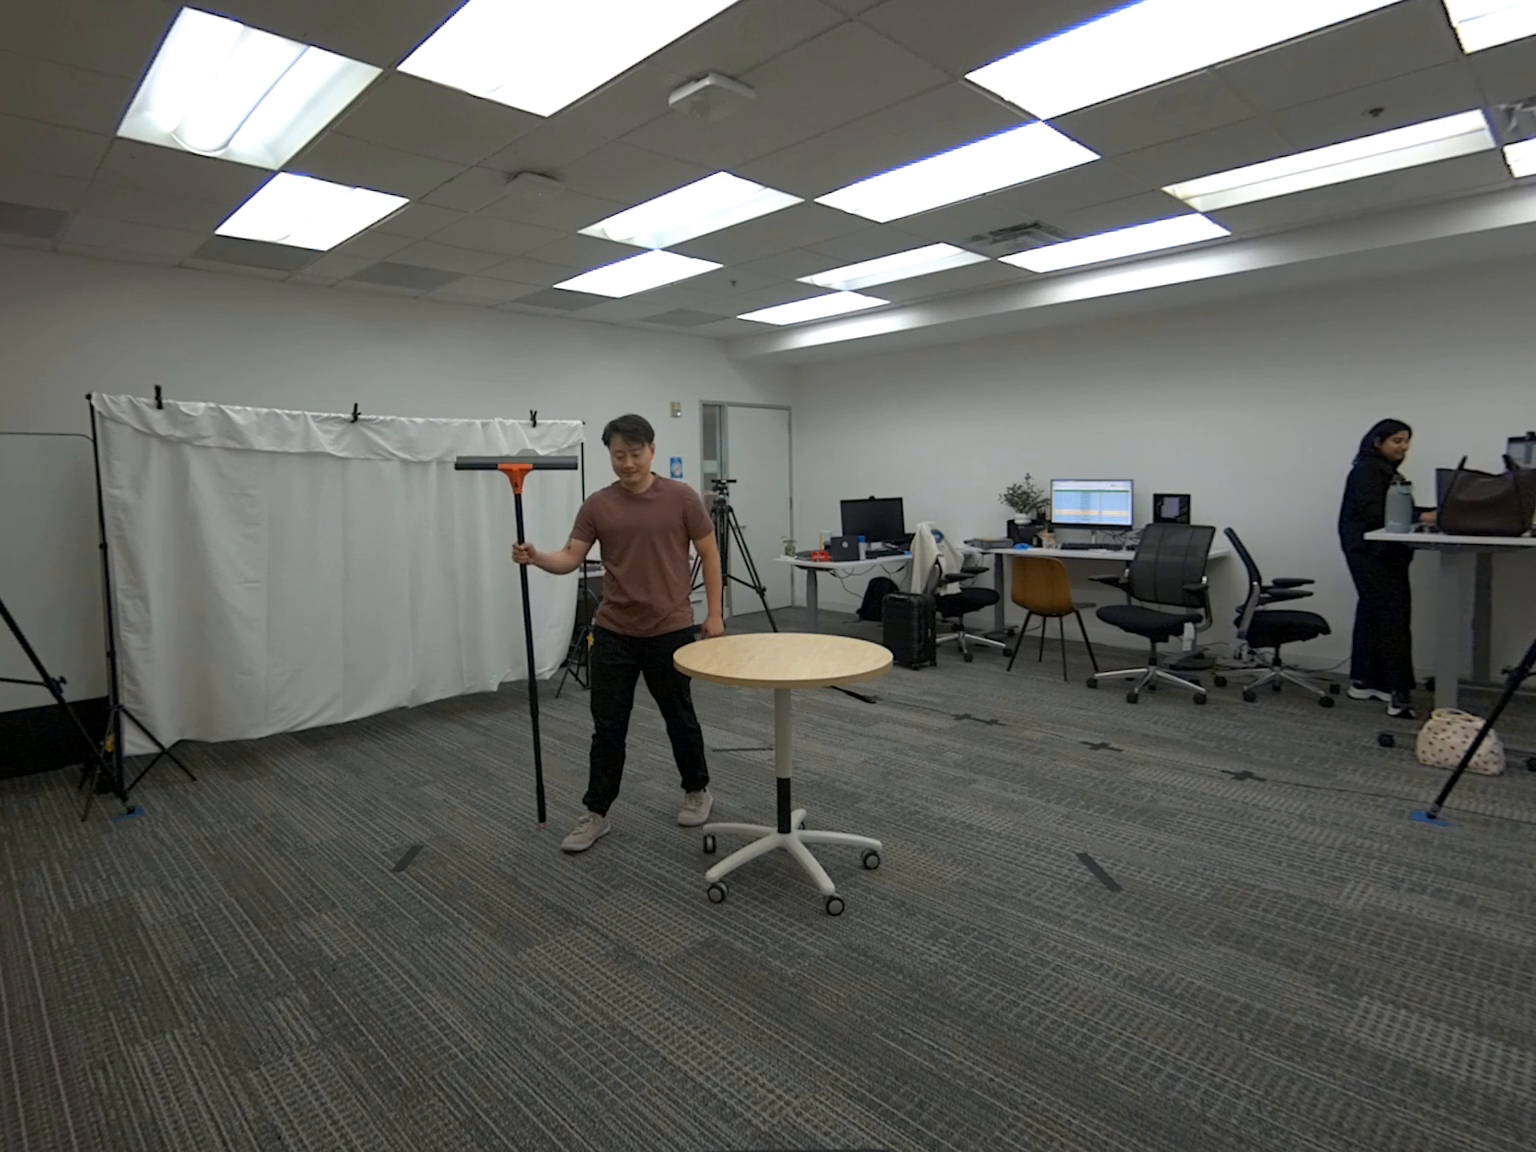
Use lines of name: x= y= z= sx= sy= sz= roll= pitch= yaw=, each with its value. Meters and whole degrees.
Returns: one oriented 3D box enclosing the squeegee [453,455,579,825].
squeegee: x=-0.907 y=0.300 z=3.253 sx=0.438 sy=1.514 sz=0.053 roll=1 pitch=18 yaw=2
